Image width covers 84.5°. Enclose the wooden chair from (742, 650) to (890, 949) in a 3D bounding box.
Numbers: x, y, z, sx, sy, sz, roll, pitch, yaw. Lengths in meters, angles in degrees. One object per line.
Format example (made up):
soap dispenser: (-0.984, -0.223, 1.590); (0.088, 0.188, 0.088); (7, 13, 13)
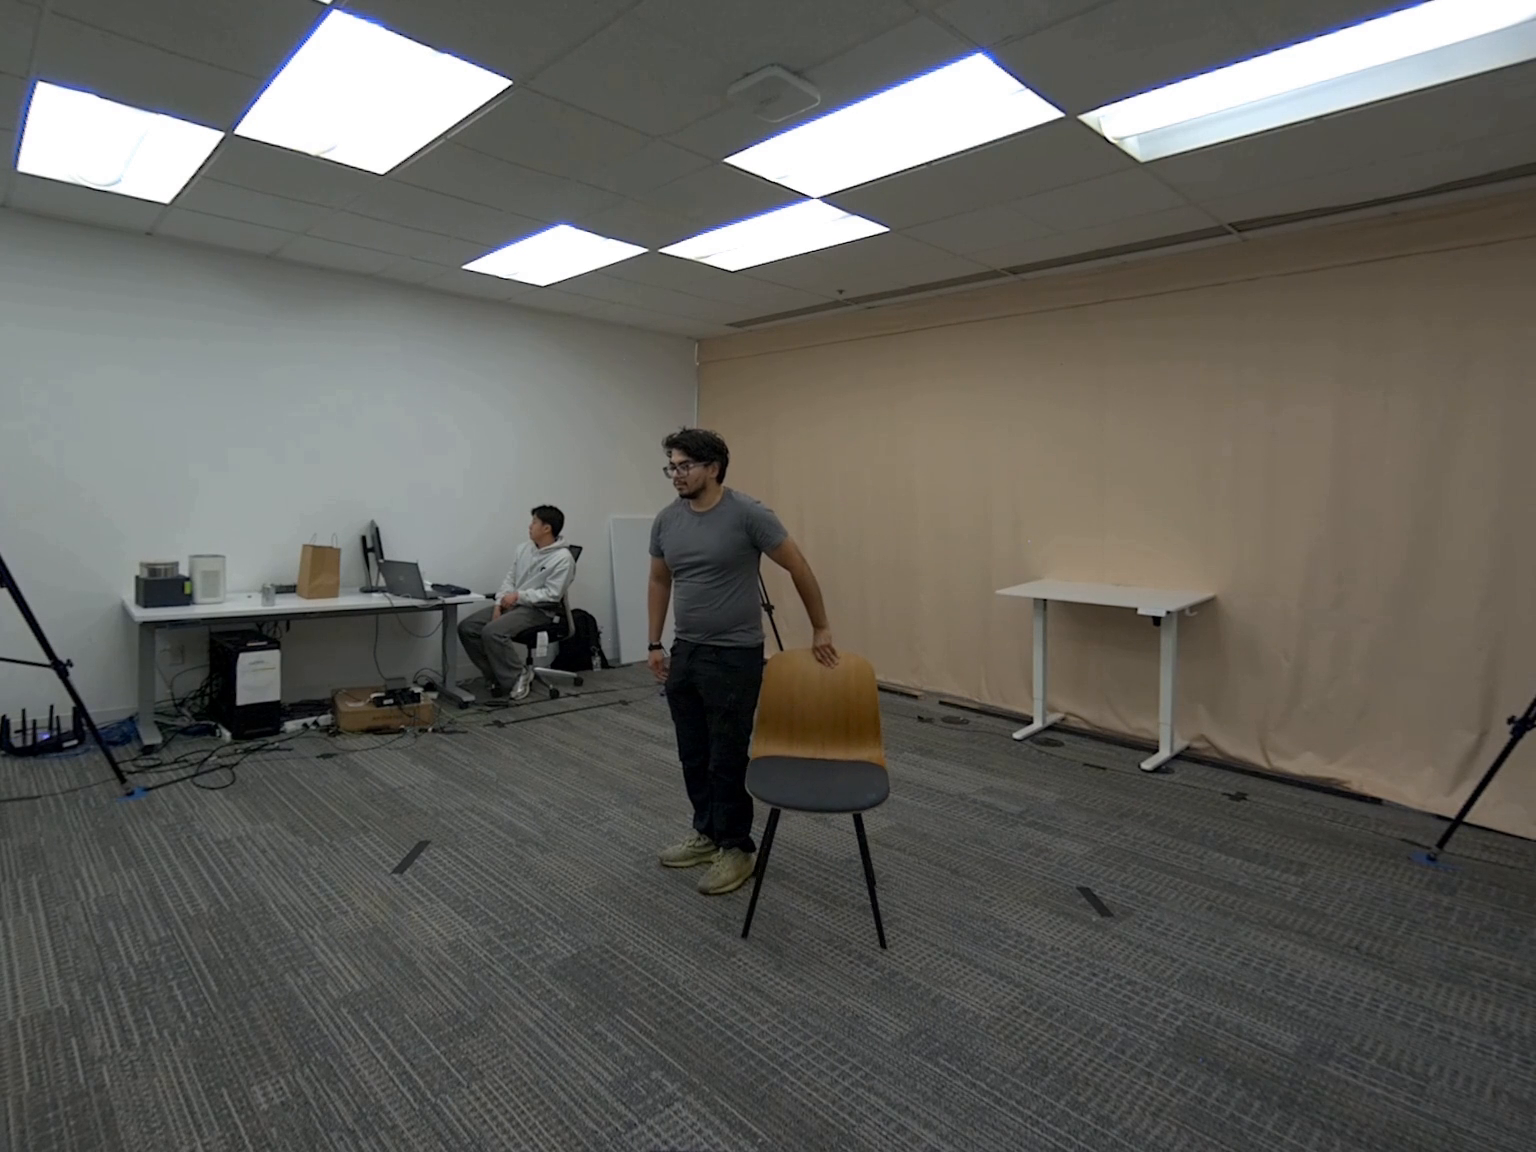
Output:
wooden chair: (0.163, 0.711, 2.819); (0.480, 0.878, 0.521); (2, -1, 4)
